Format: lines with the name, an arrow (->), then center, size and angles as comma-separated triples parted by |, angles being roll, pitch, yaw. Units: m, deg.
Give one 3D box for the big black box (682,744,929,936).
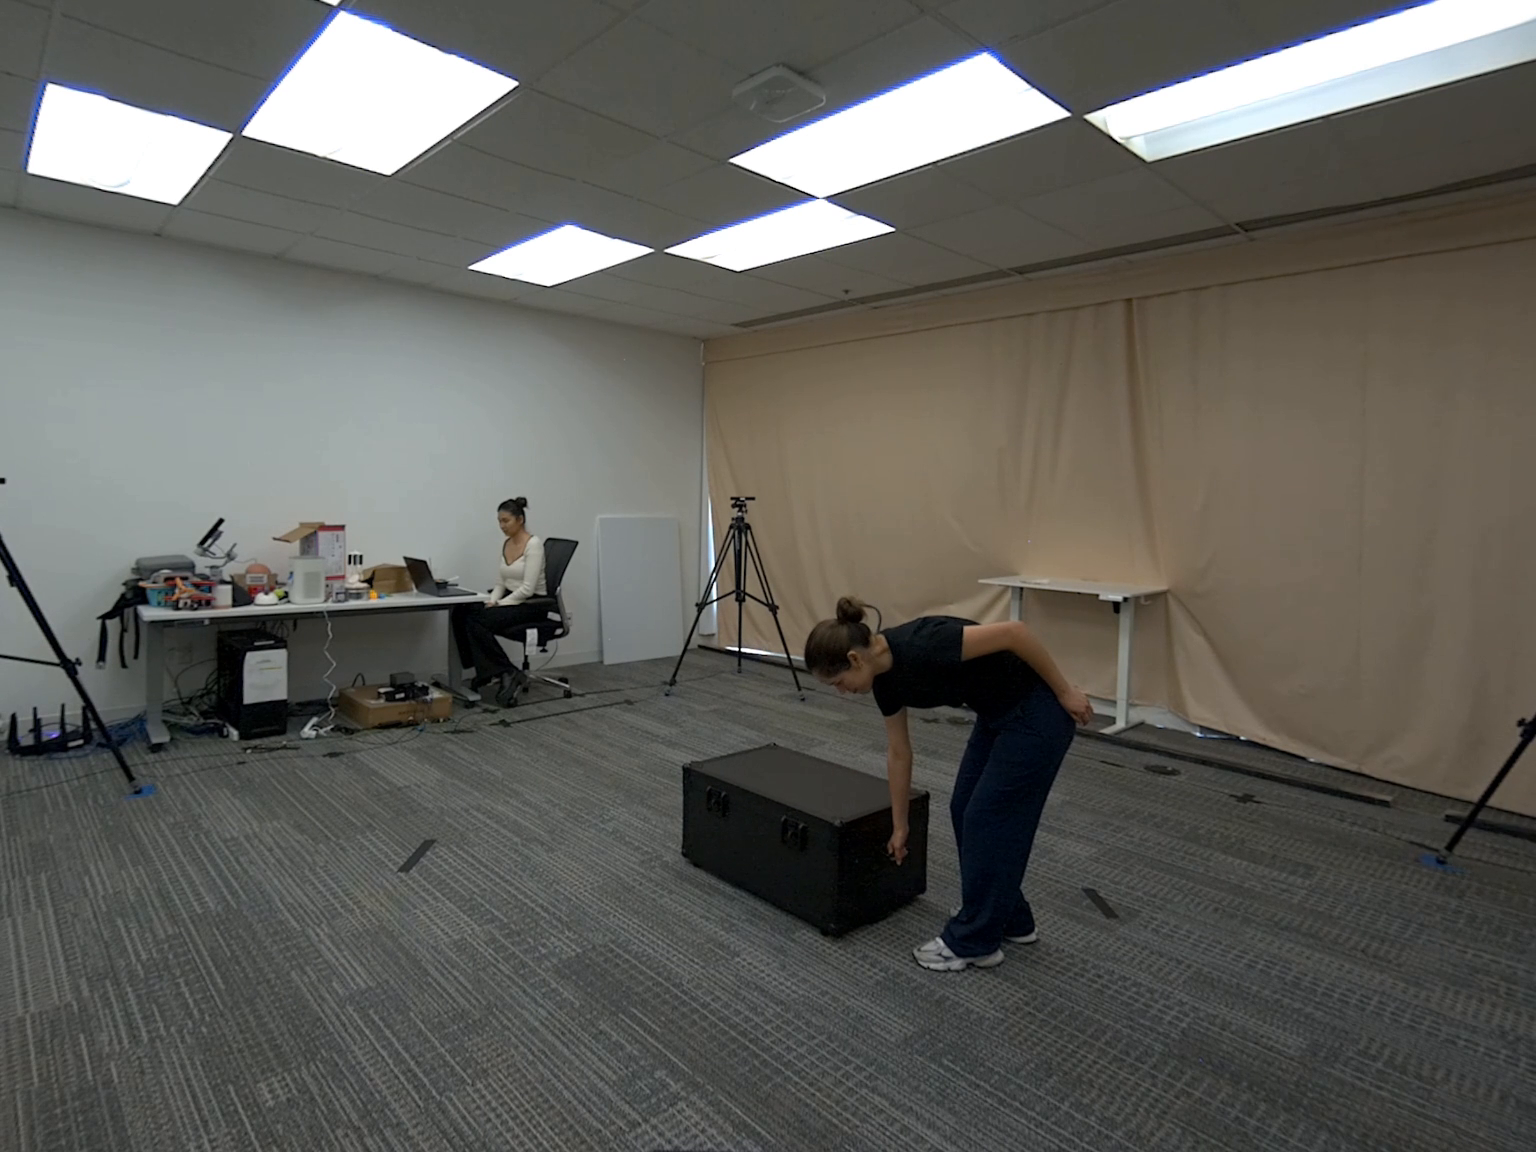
big black box -> 0.092, 0.923, 3.091 | 0.509, 0.395, 0.884 | -2, 6, -44
